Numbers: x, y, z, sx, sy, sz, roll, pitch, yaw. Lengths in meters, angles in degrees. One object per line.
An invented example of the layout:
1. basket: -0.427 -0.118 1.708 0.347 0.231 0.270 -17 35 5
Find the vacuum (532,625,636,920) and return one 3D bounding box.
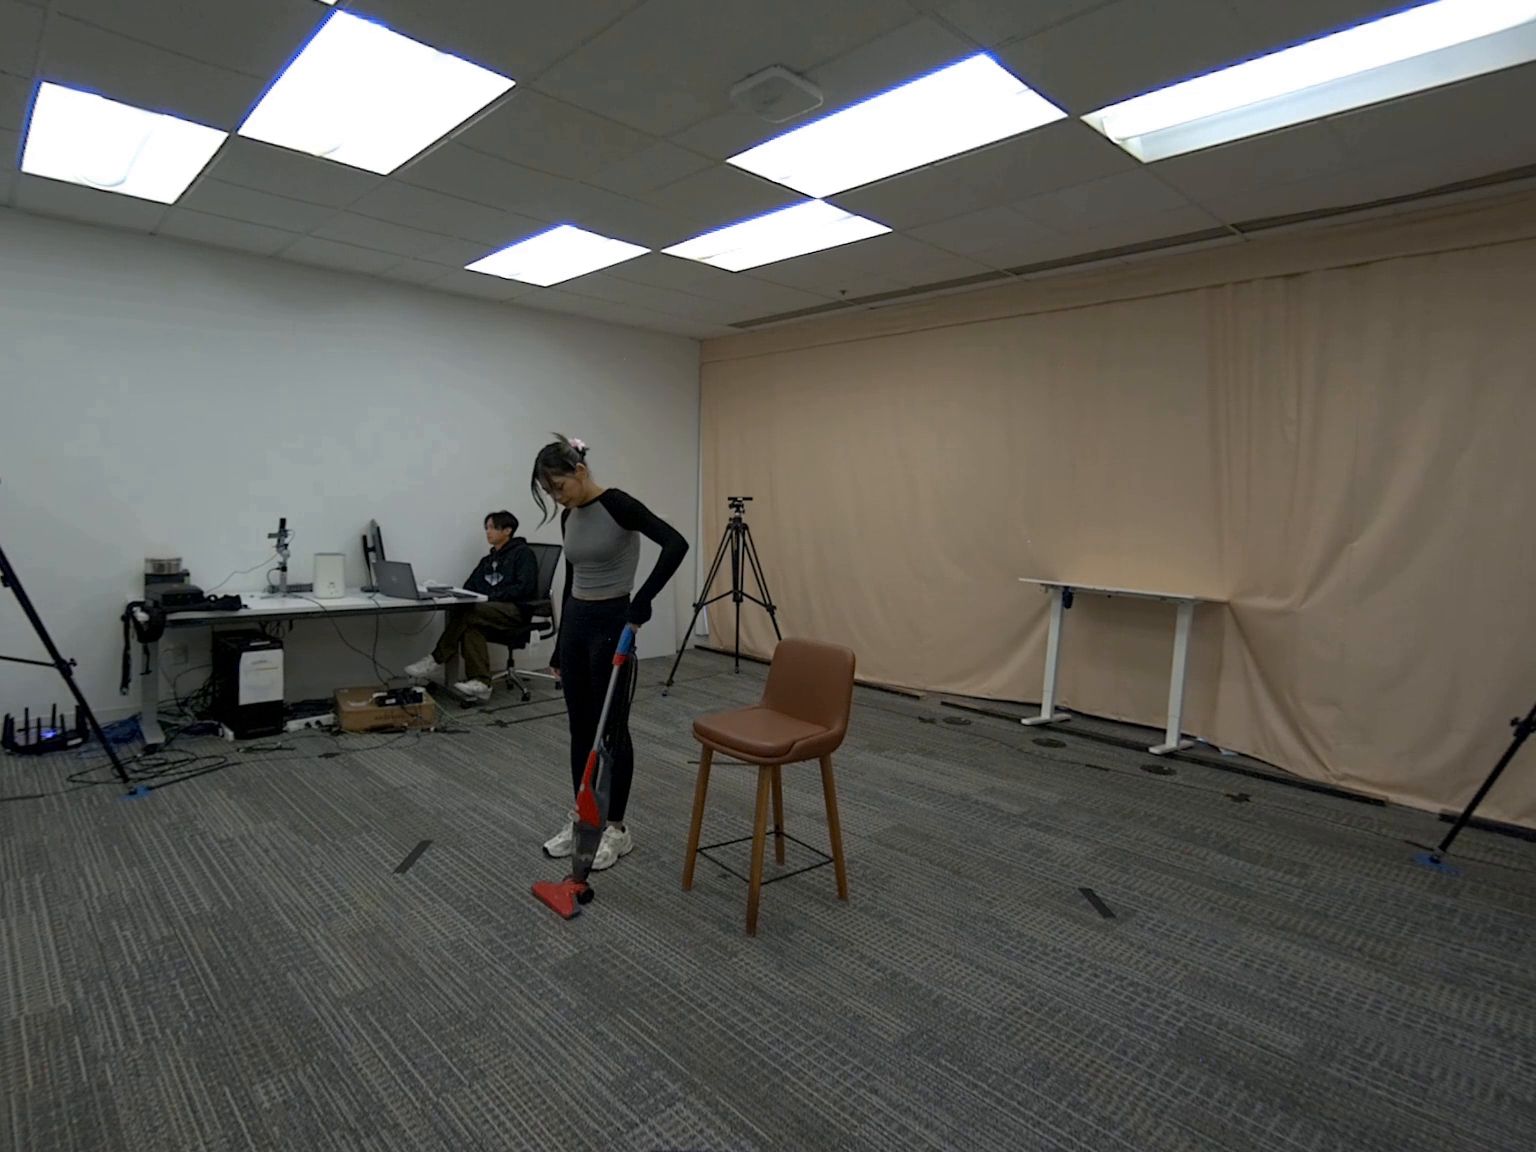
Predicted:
1. vacuum: -0.568 0.617 2.931 0.259 1.052 0.140 10 -7 40
